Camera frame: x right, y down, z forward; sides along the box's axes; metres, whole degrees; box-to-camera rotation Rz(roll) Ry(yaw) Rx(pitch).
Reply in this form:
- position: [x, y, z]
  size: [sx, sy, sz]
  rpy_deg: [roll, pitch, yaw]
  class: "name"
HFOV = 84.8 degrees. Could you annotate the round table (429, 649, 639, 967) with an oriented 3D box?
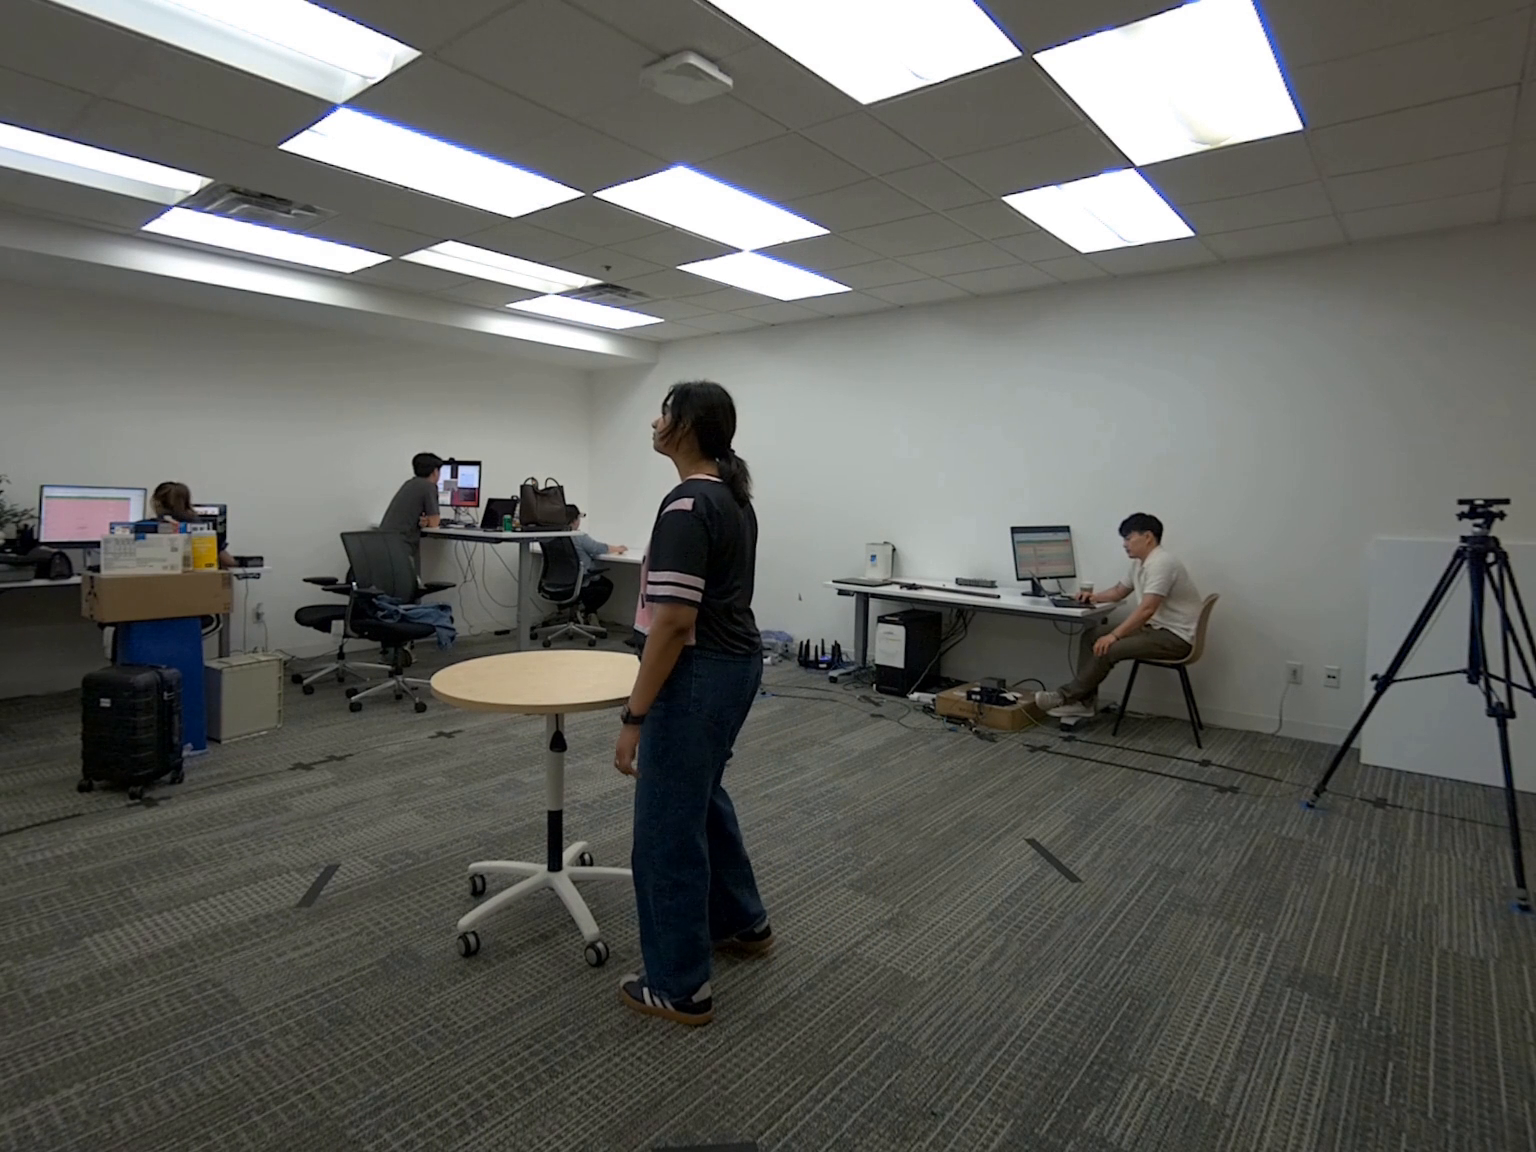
- position: [-0.702, 0.707, 2.764]
  size: [0.763, 0.791, 0.768]
  rpy_deg: [0, 5, -2]
  class: "round table"
